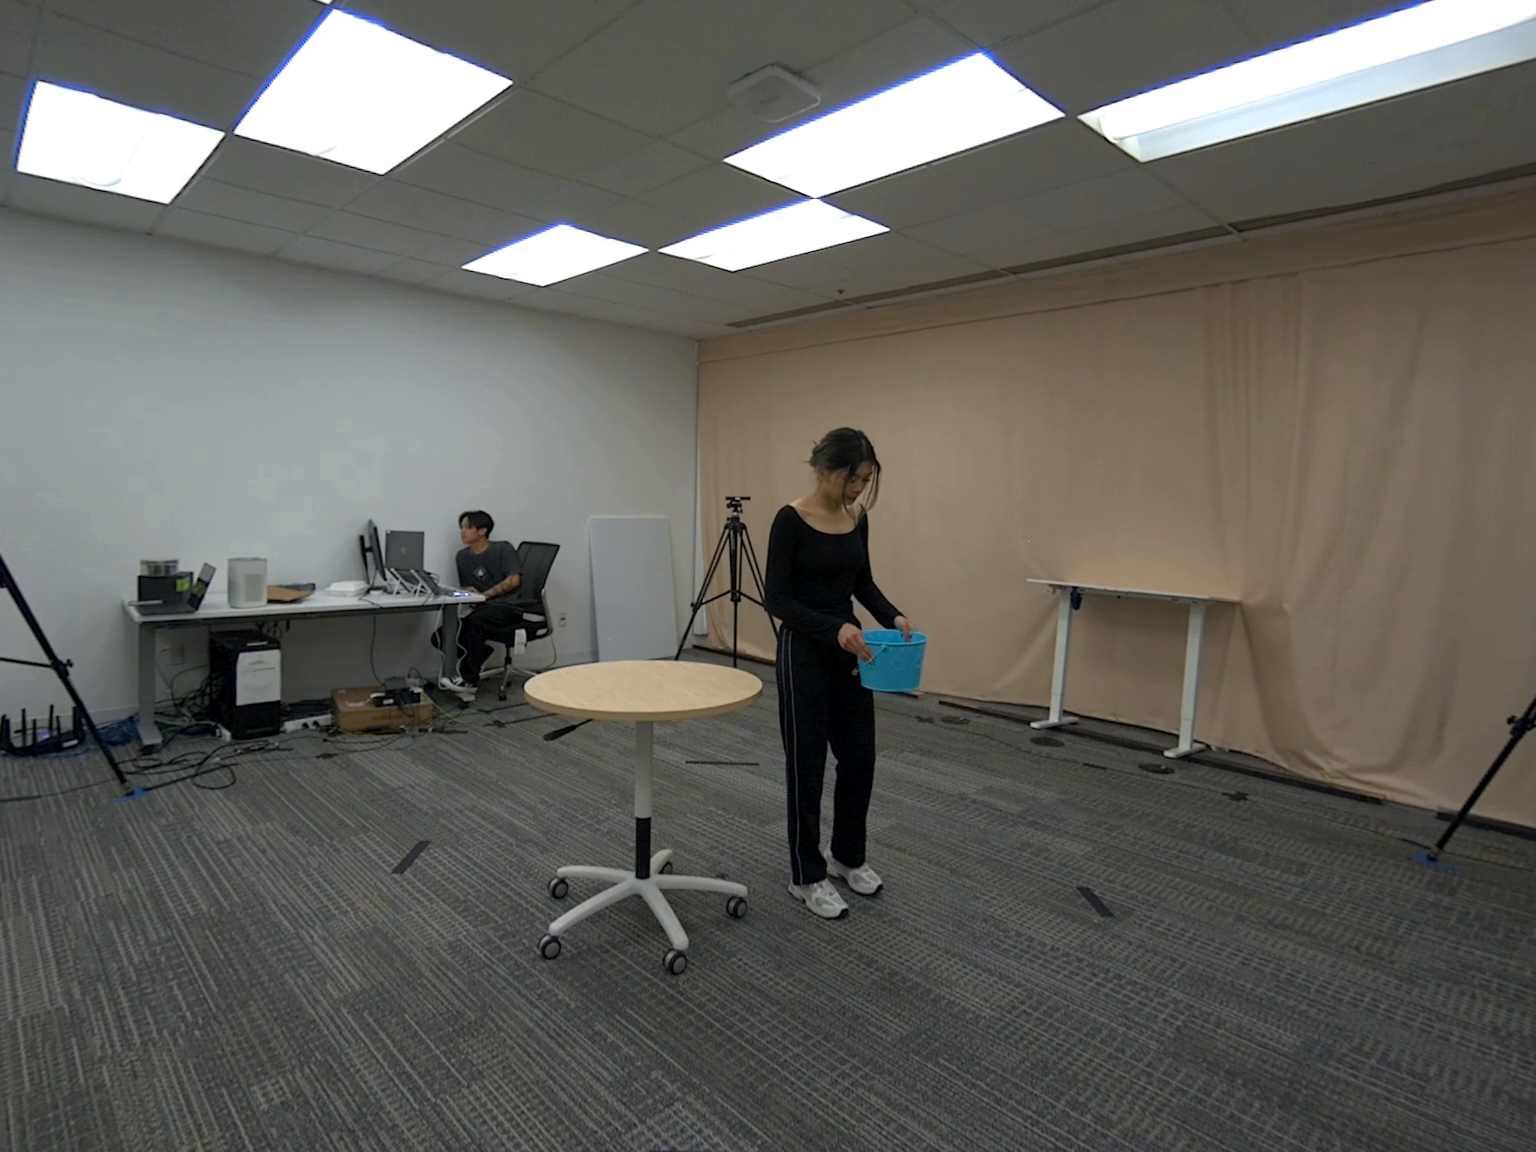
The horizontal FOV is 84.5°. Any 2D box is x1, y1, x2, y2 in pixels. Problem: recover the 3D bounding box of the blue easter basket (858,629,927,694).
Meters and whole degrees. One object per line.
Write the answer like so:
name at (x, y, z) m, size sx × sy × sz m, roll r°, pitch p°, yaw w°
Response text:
blue easter basket at (0.370, 0.269, 2.637) m, size 0.243 × 0.155 × 0.245 m, roll 0°, pitch 7°, yaw -1°
